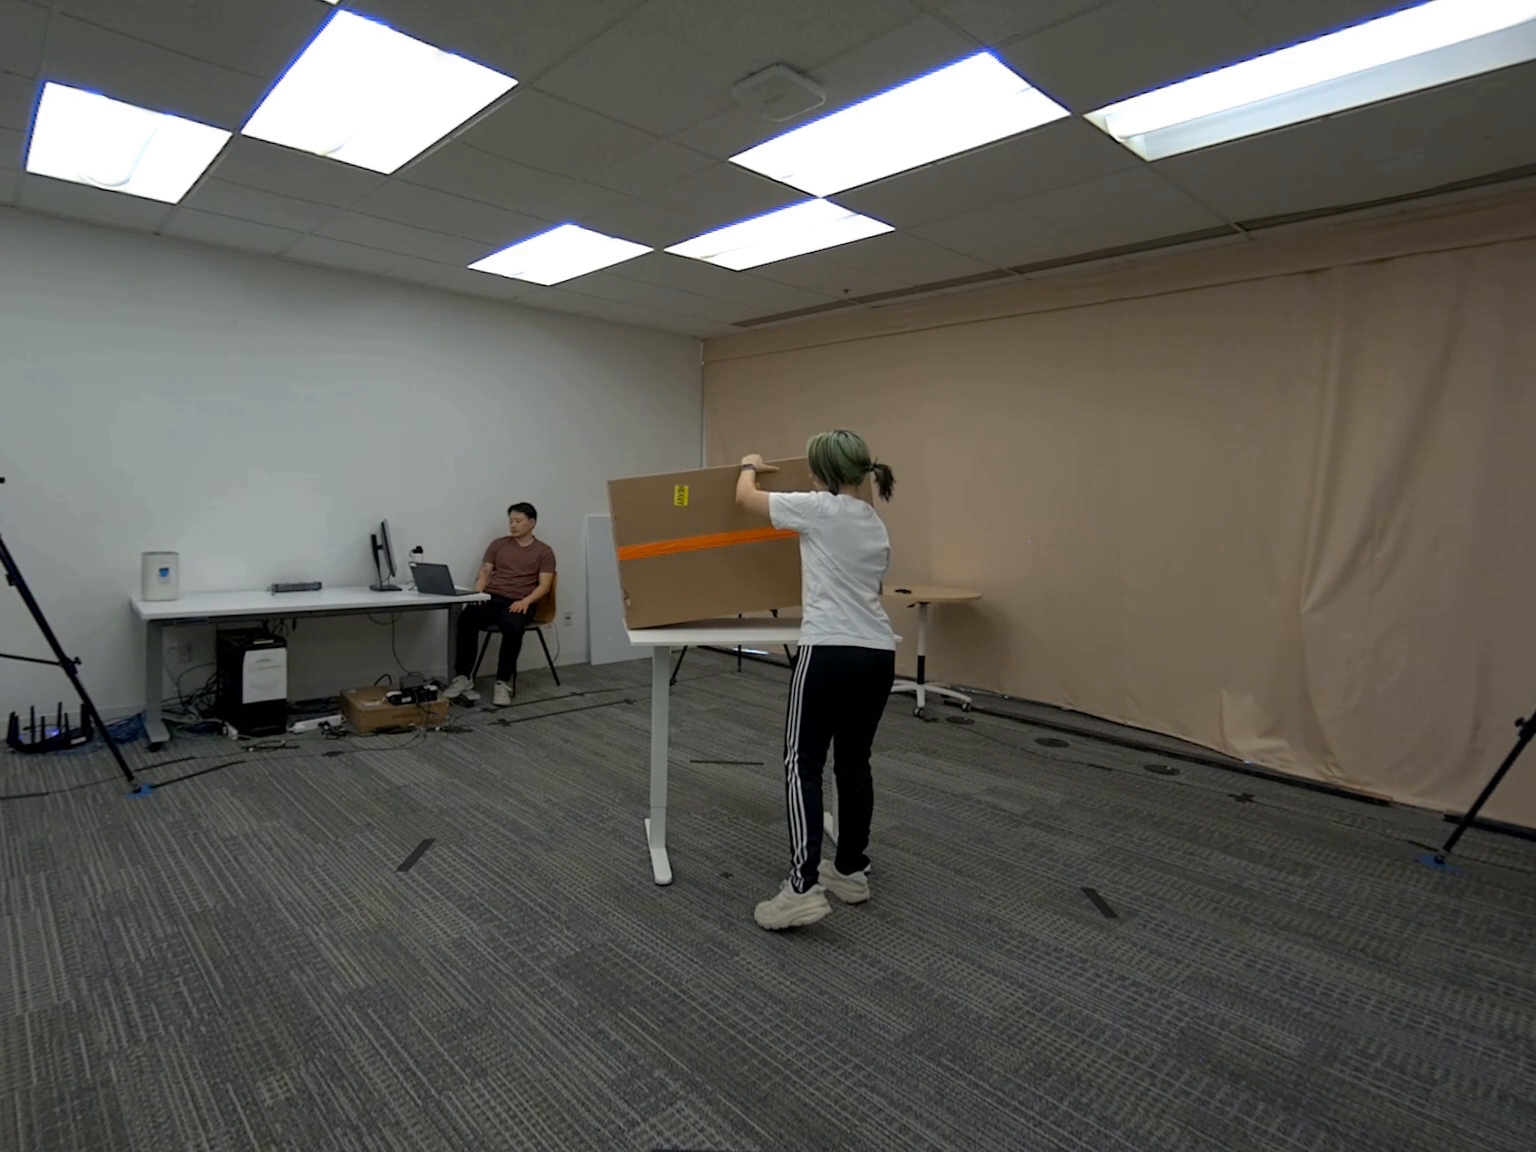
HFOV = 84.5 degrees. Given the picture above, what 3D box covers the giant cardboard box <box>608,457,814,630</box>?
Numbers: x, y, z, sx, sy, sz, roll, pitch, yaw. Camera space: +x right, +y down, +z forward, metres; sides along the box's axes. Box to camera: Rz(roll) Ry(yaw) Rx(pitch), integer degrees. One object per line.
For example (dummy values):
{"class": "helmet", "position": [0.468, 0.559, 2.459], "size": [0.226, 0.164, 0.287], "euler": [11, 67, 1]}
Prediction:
{"class": "giant cardboard box", "position": [-0.112, -0.153, 3.436], "size": [1.023, 0.583, 0.449], "euler": [-7, 3, -5]}
